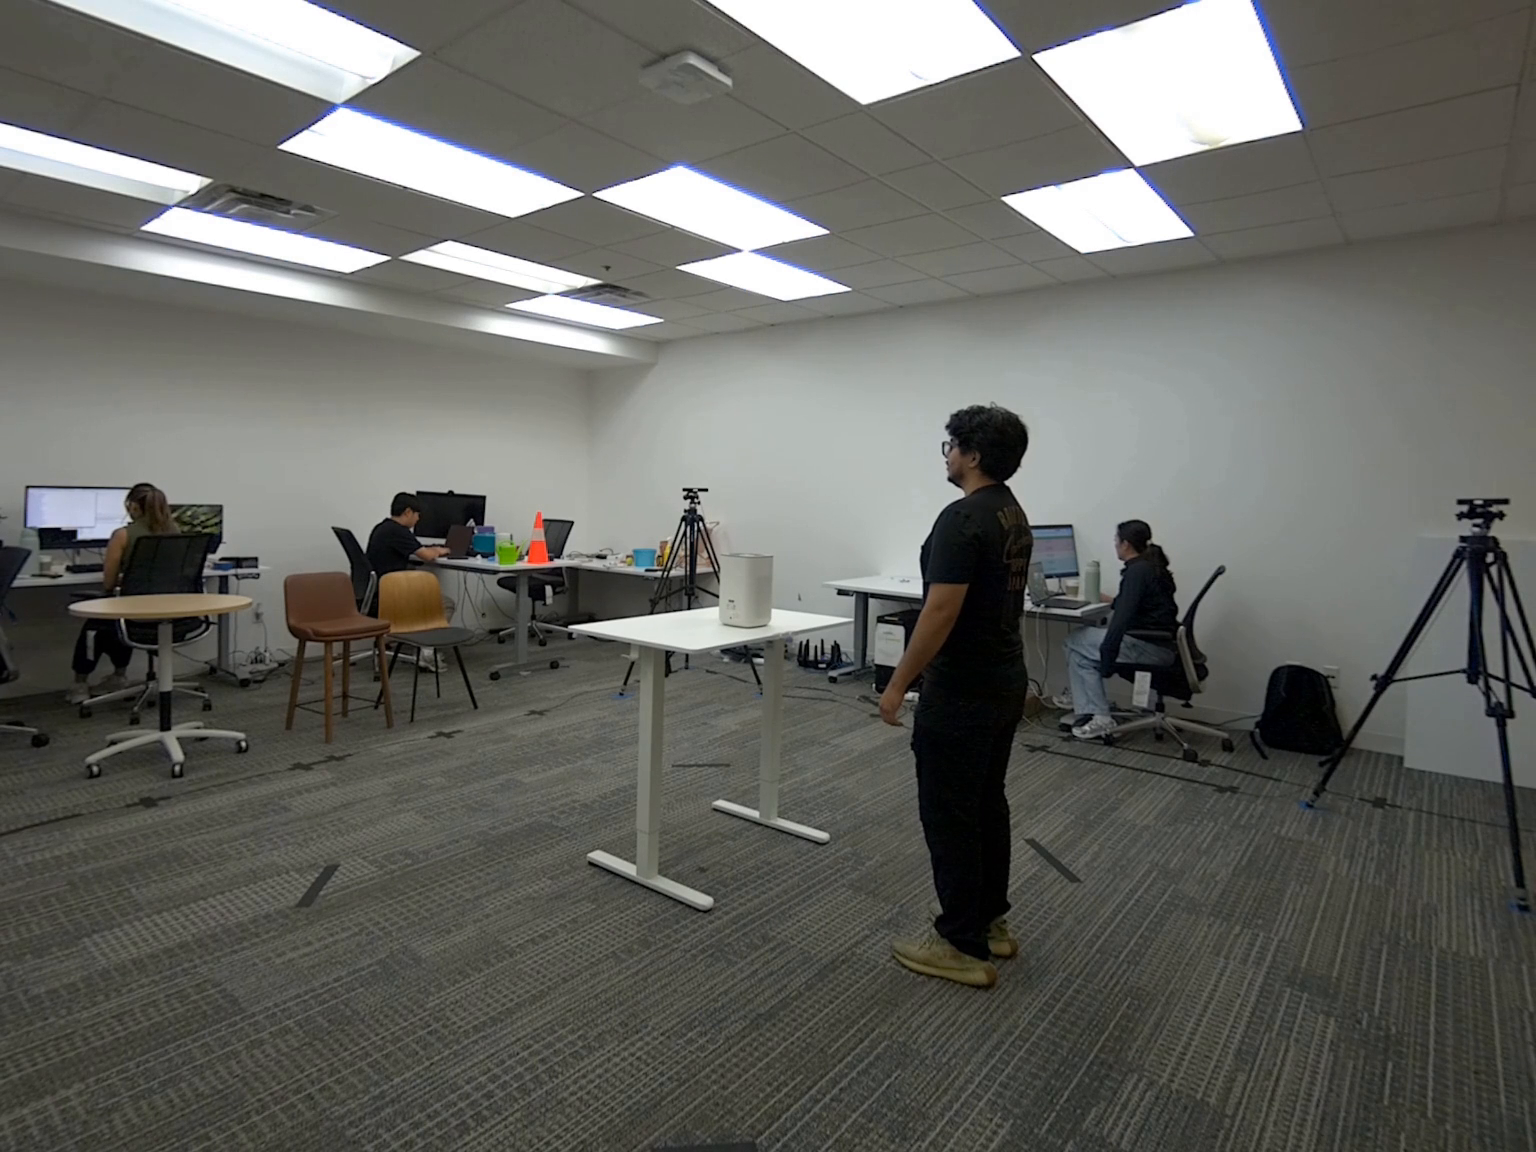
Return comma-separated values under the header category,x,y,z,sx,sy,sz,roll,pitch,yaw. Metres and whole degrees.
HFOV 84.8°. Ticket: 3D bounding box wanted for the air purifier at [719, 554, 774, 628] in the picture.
category,x,y,z,sx,sy,sz,roll,pitch,yaw
air purifier,-0.094,0.049,3.196,0.176,0.265,0.166,3,3,37
